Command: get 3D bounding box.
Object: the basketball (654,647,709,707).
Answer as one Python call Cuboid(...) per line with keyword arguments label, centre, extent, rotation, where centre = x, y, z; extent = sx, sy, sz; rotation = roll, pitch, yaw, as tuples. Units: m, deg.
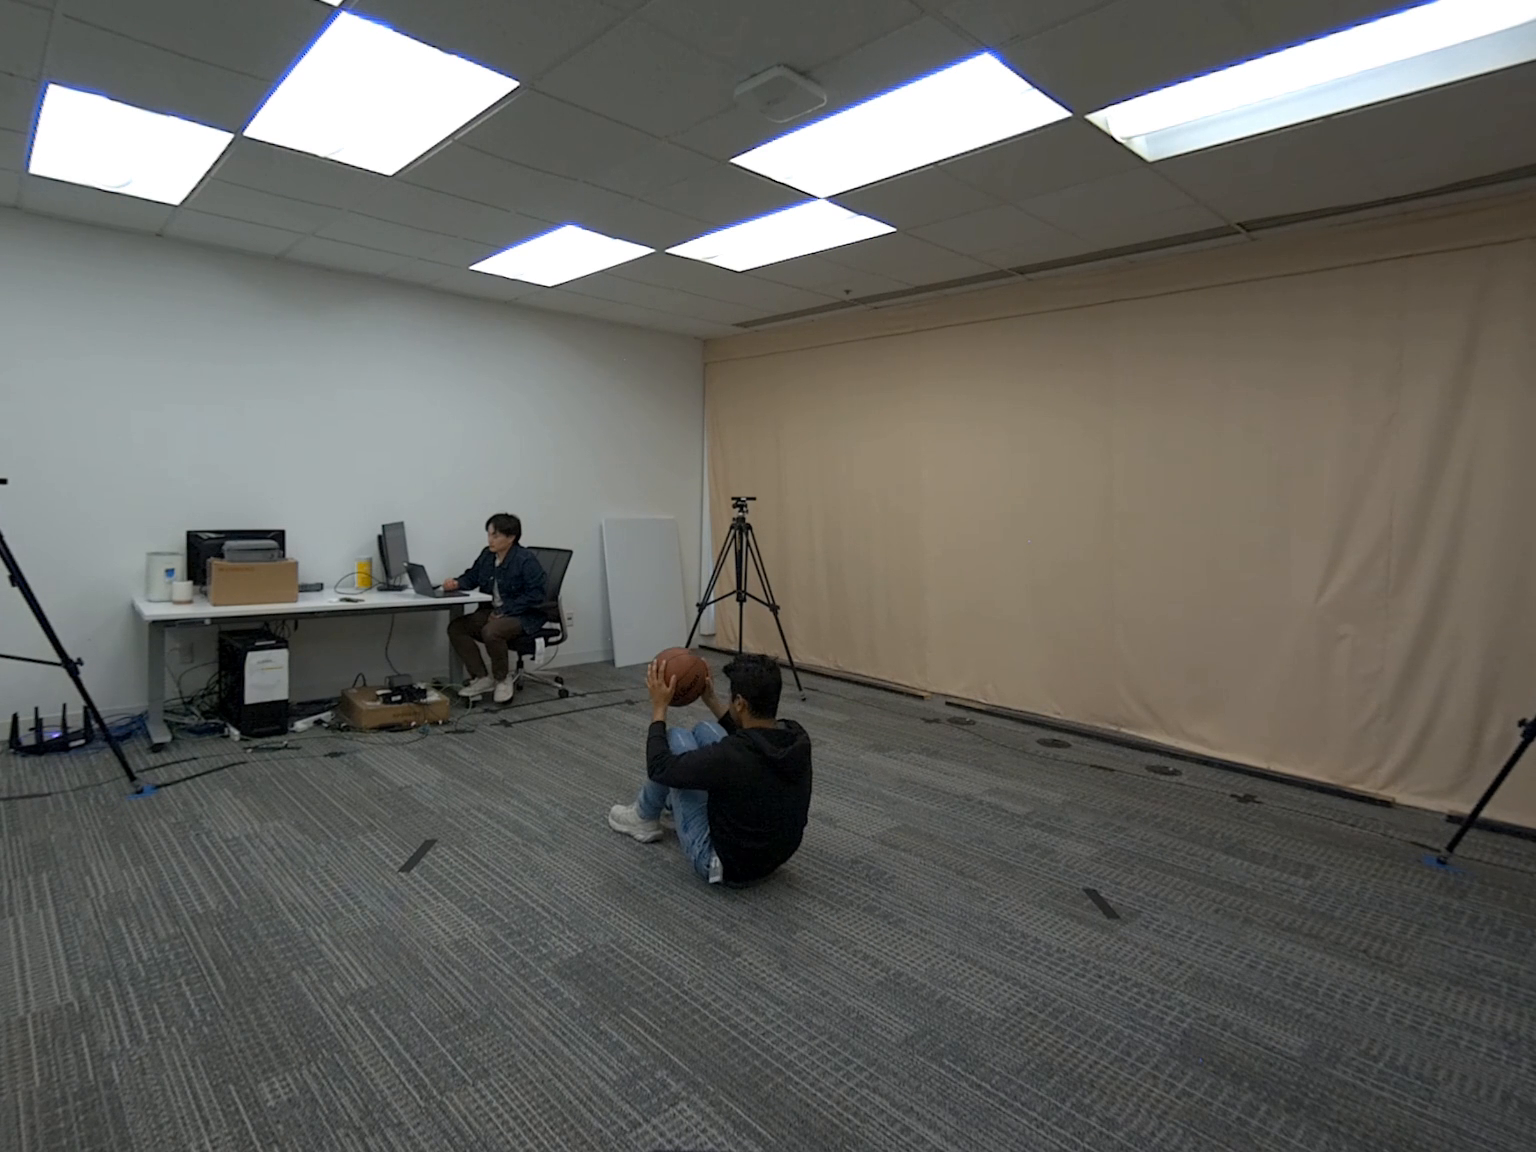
Cuboid(label="basketball", centre=(-0.370, 0.414, 3.375), extent=(0.236, 0.235, 0.237), rotation=(1, 4, -1))
